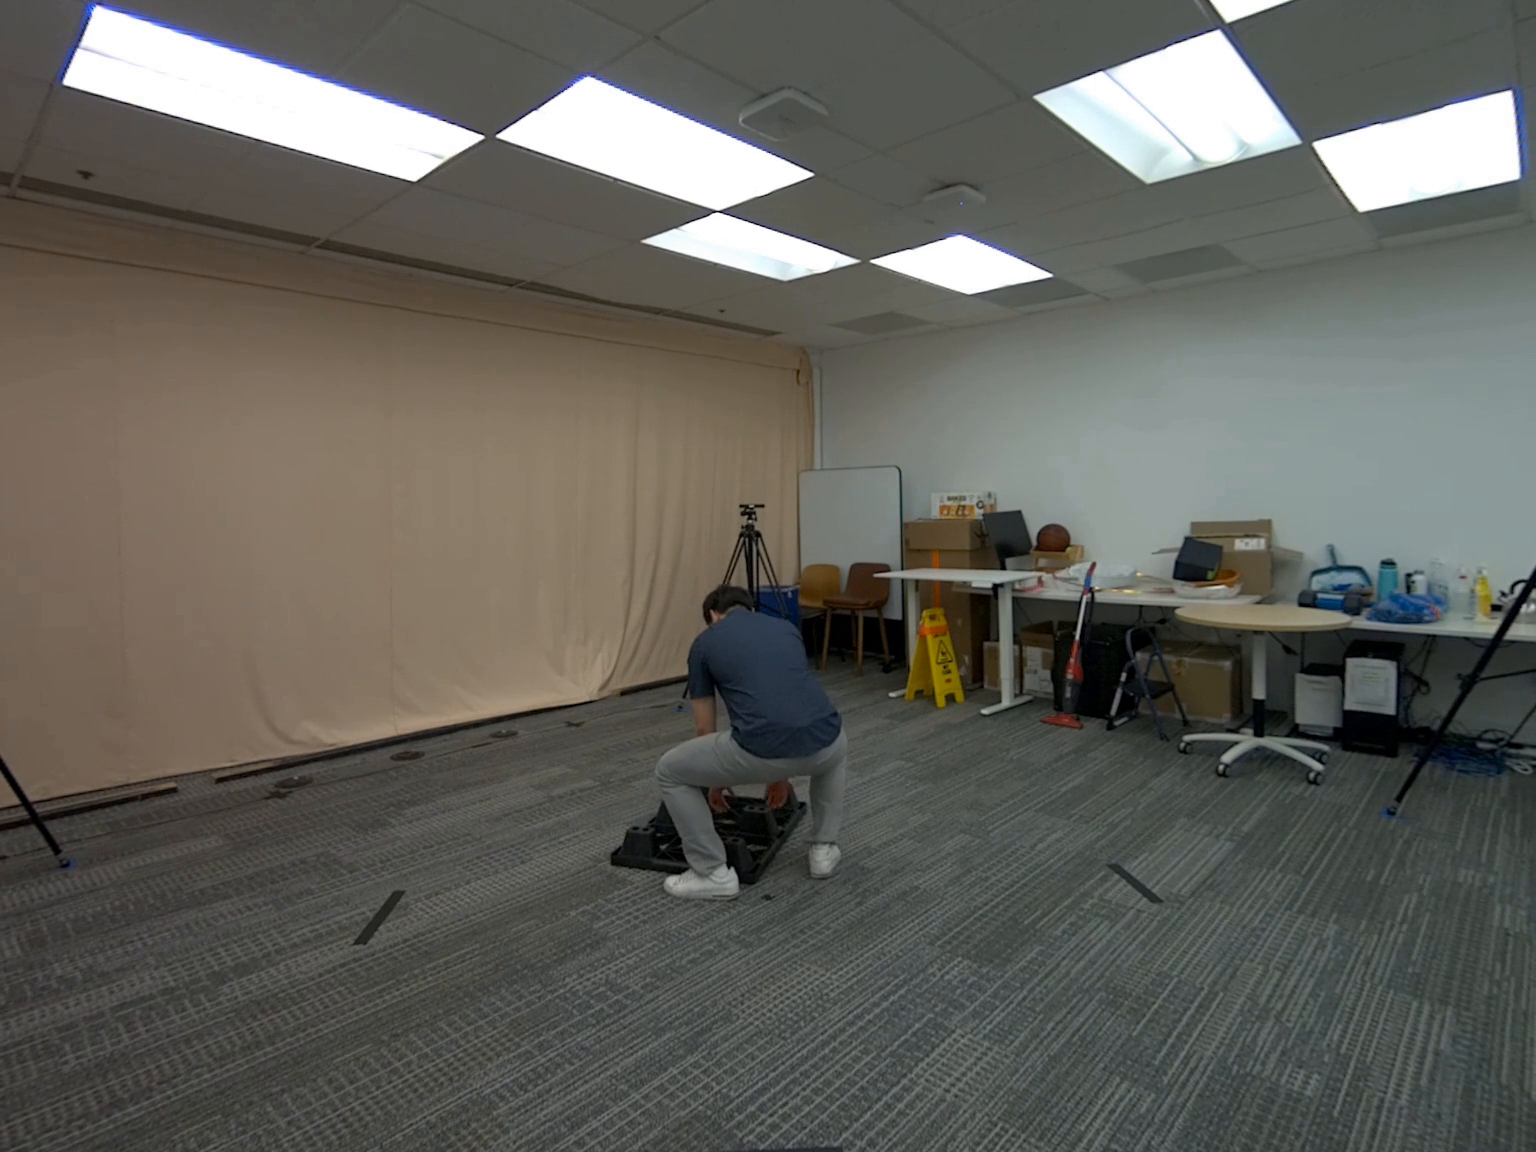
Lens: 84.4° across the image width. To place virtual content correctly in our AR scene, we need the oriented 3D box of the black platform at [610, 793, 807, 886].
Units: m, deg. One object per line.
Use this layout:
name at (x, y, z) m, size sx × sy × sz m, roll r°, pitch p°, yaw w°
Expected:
black platform at (-0.223, 1.029, 3.554) m, size 0.617 × 0.143 × 0.792 m, roll 1°, pitch 5°, yaw 18°
